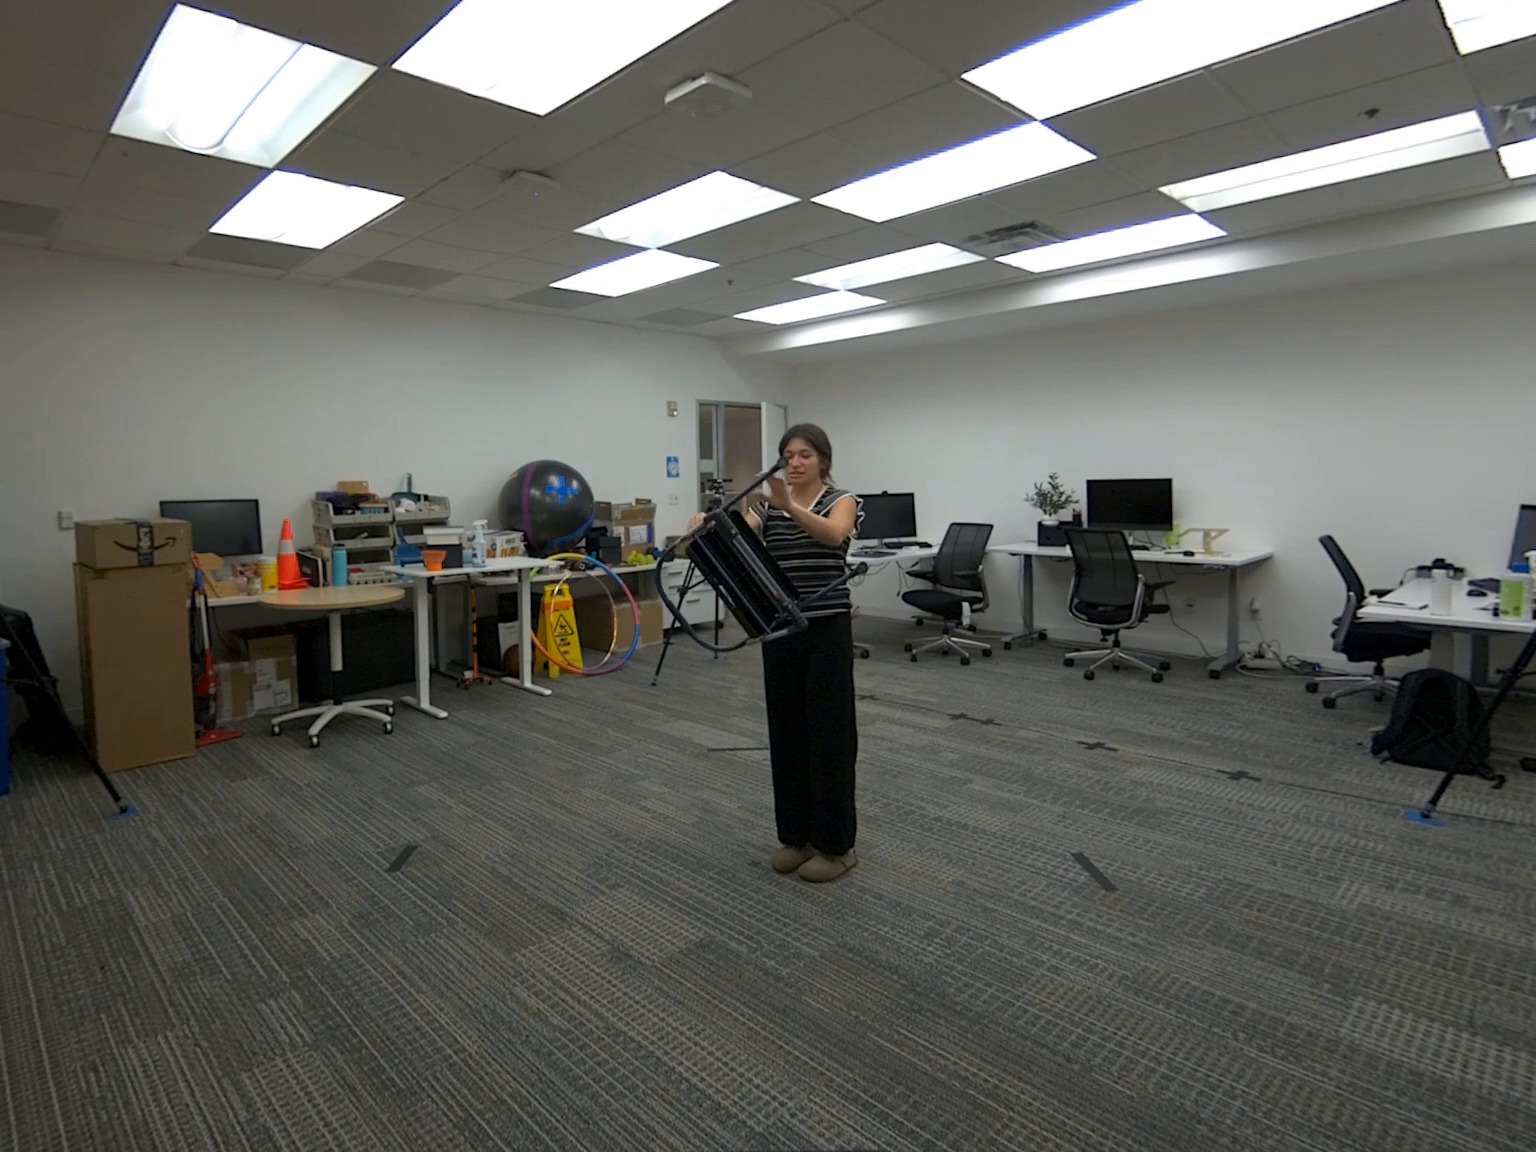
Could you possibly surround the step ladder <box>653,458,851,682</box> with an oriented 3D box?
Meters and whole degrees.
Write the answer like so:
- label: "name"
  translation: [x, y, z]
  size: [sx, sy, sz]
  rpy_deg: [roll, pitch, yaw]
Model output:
- label: "step ladder"
  translation: [-0.098, -0.004, 2.691]
  size: [0.347, 0.430, 0.611]
  rpy_deg: [-38, 3, -41]
